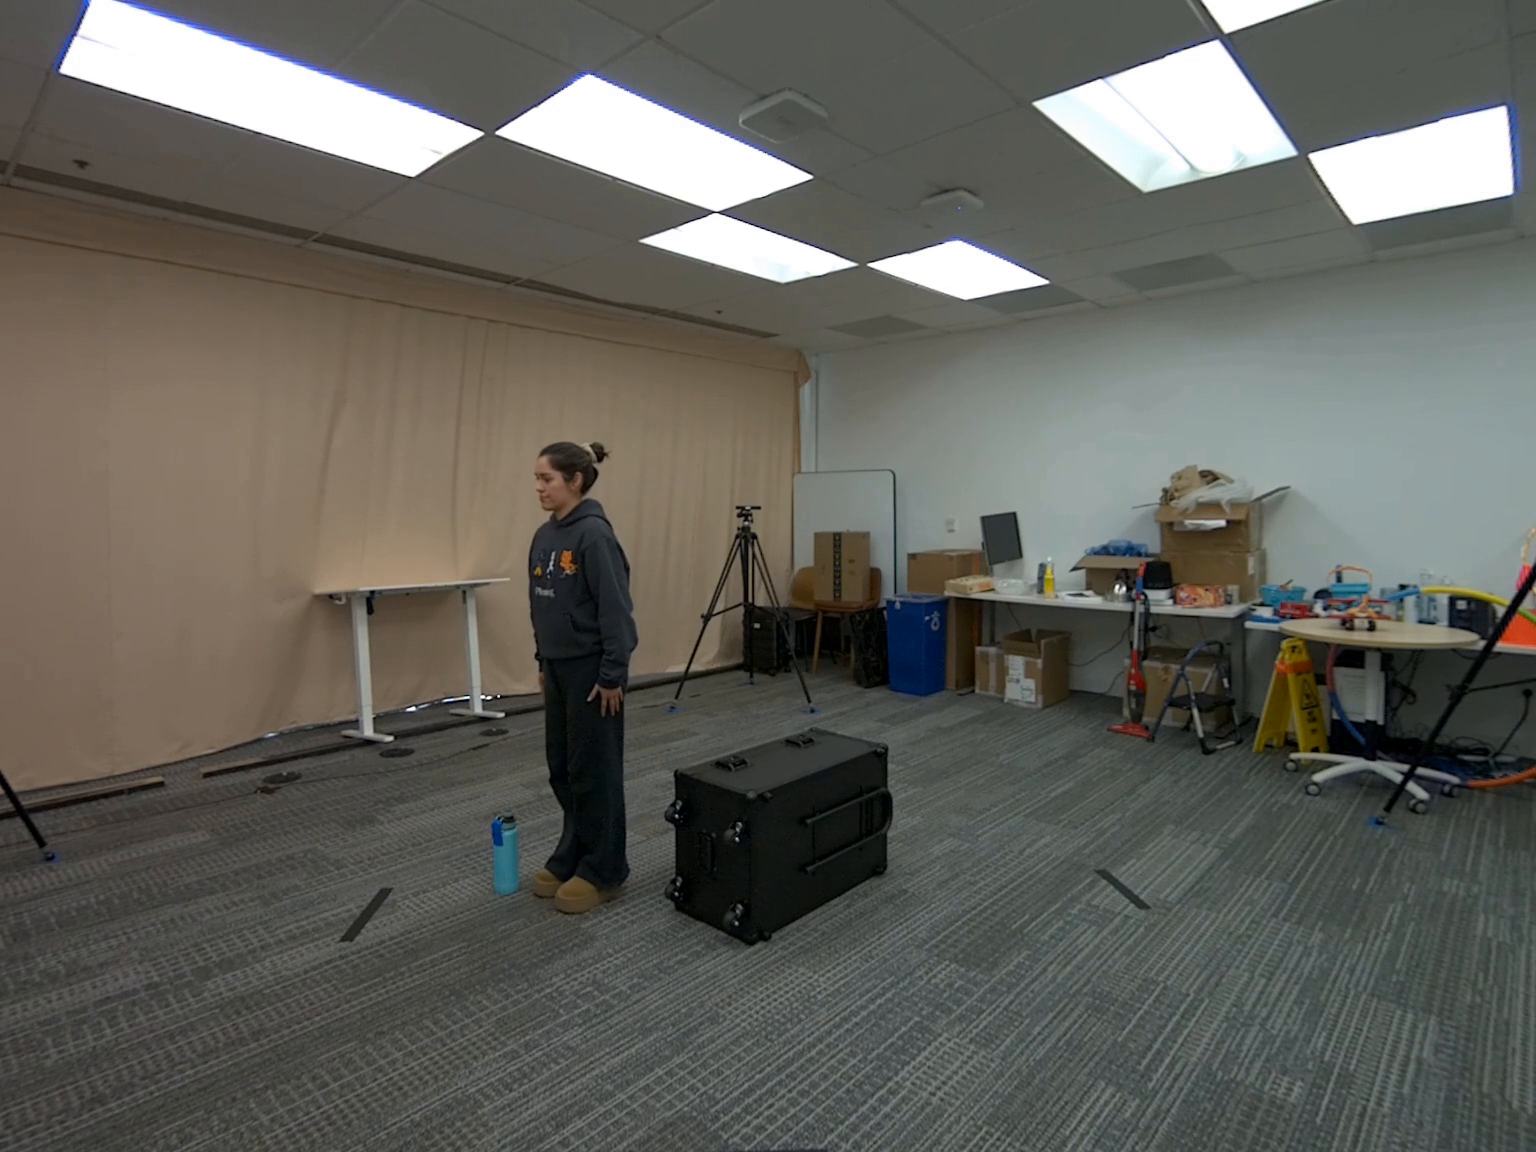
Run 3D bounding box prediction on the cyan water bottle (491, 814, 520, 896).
[{"bbox_3d":[-0.943,1.017,3.079,0.092,0.283,0.092,-2,2,-2],"label":"cyan water bottle"}]
